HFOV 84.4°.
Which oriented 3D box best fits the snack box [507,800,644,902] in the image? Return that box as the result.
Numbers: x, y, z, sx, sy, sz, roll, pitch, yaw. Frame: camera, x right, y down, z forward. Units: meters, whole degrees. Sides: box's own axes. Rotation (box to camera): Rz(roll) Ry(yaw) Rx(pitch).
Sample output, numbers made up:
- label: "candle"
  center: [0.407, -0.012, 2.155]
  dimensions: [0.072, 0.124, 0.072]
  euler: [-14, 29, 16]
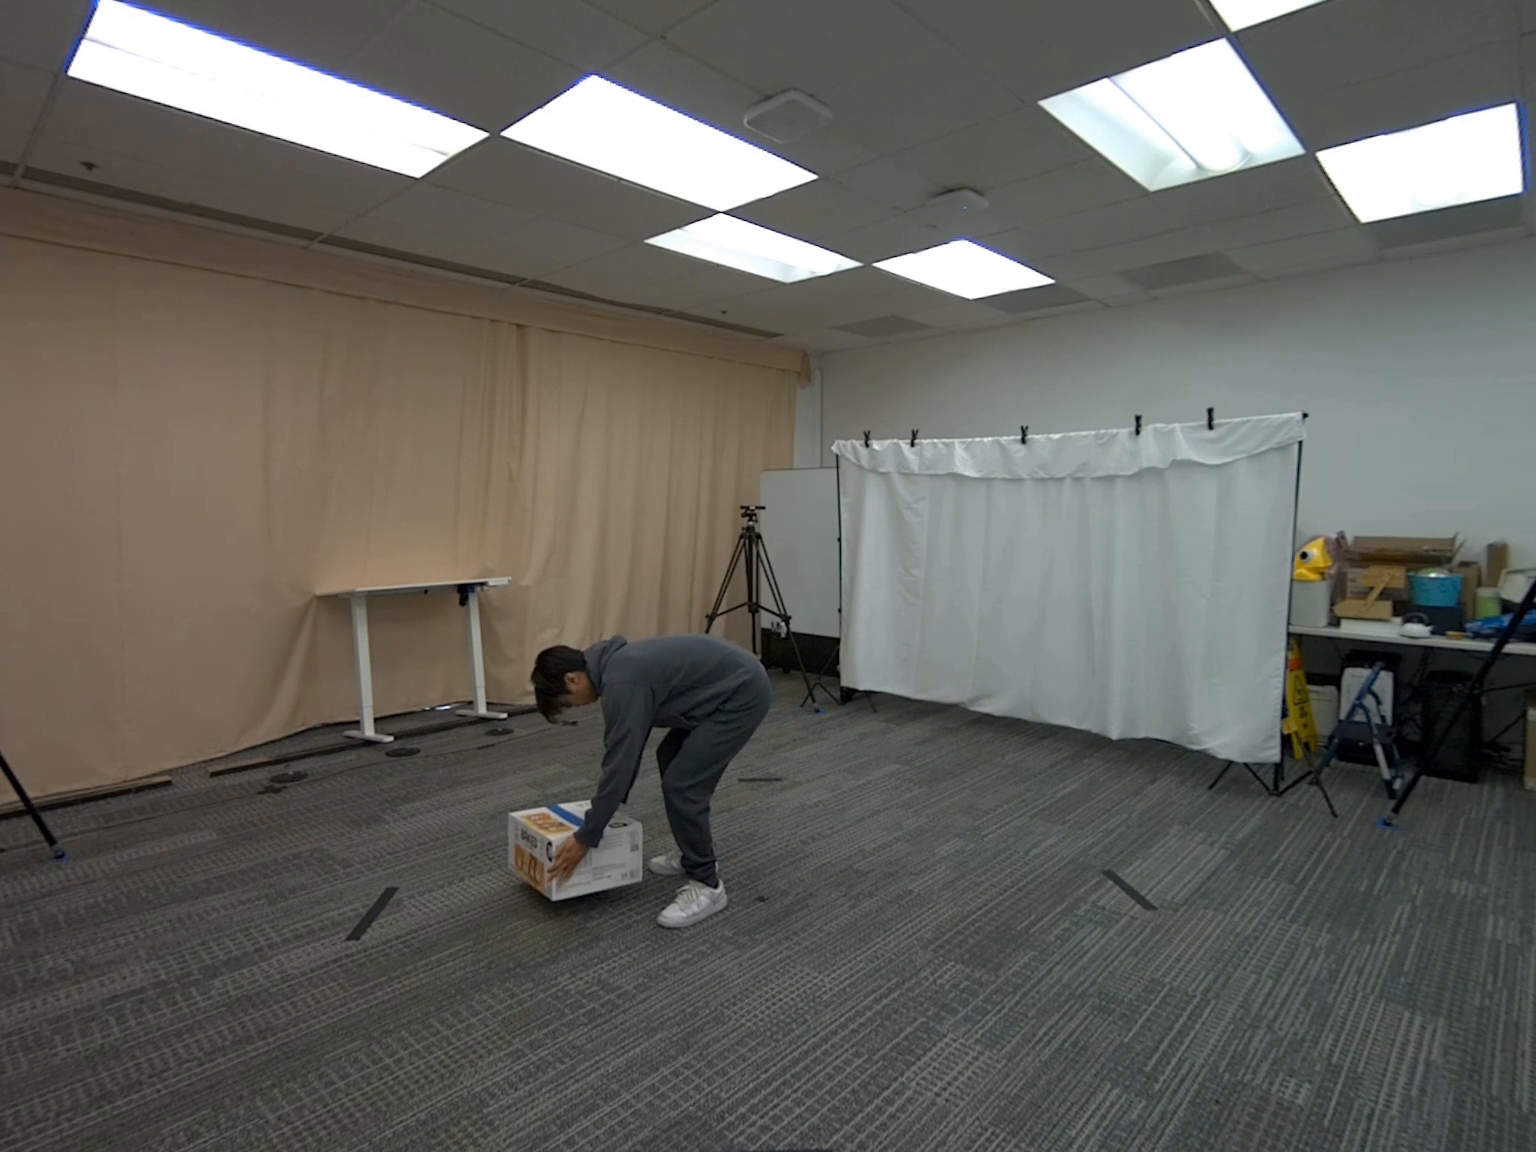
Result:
- label: "snack box"
  center: [-0.698, 0.970, 3.030]
  dimensions: [0.330, 0.206, 0.417]
  euler: [-1, 0, -36]
